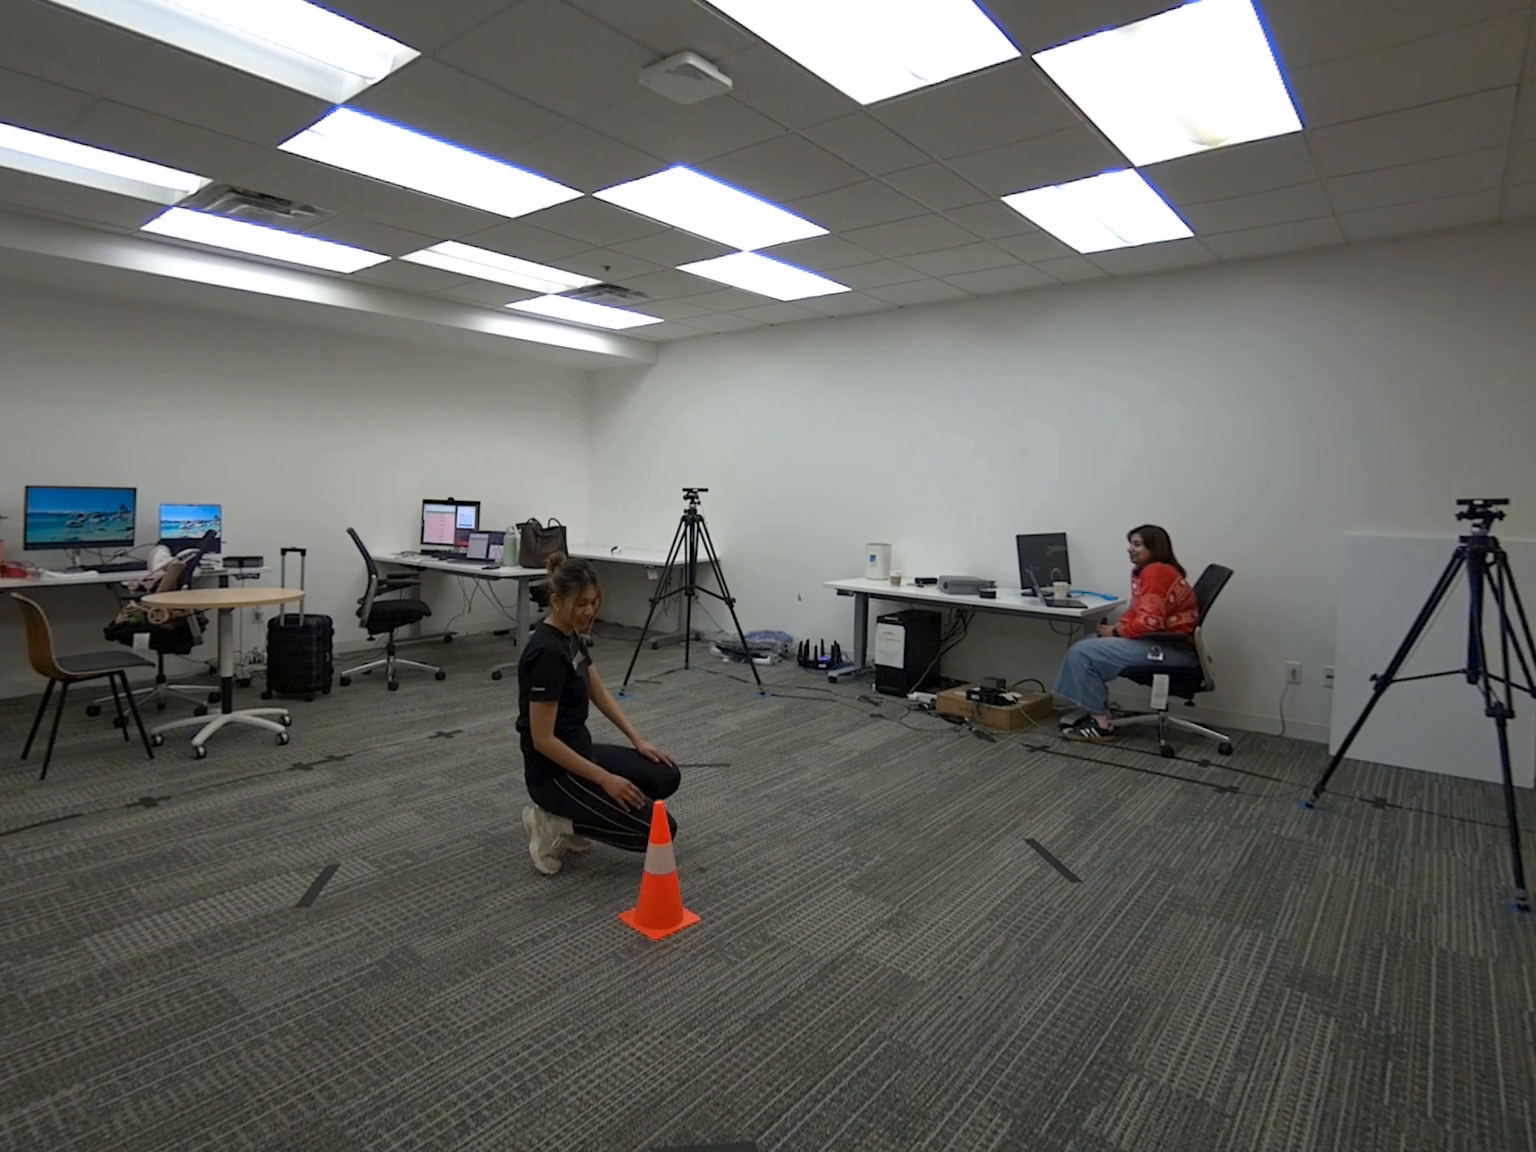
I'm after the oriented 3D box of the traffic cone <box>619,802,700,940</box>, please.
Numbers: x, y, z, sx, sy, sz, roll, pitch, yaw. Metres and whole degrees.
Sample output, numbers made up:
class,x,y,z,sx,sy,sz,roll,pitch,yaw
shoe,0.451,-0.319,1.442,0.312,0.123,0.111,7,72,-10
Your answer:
class,x,y,z,sx,sy,sz,roll,pitch,yaw
traffic cone,-0.350,0.920,2.737,0.210,0.383,0.199,4,4,37
